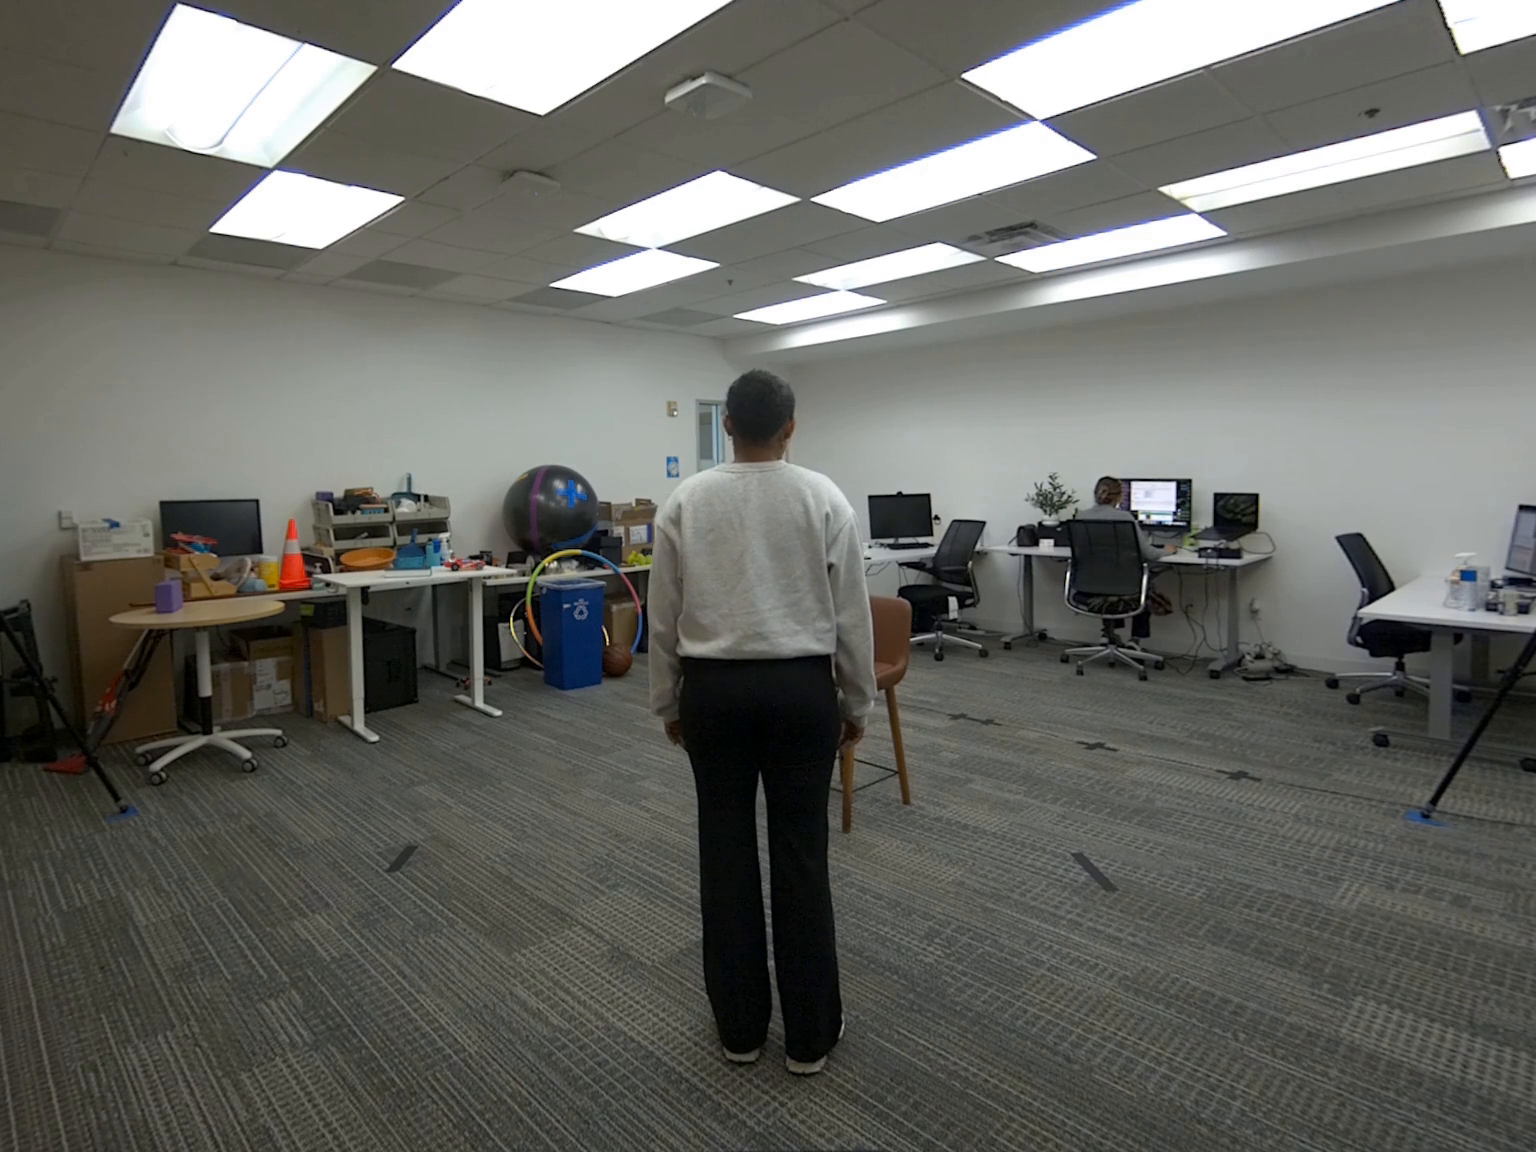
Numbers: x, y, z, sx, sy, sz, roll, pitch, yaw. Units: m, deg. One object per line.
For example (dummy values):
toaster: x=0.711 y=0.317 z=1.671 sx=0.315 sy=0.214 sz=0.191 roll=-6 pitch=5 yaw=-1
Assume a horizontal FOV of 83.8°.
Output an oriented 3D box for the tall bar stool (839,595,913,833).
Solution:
tall bar stool: x=0.329 y=0.545 z=3.627 sx=0.454 sy=0.888 sz=0.471 roll=-2 pitch=4 yaw=-43
